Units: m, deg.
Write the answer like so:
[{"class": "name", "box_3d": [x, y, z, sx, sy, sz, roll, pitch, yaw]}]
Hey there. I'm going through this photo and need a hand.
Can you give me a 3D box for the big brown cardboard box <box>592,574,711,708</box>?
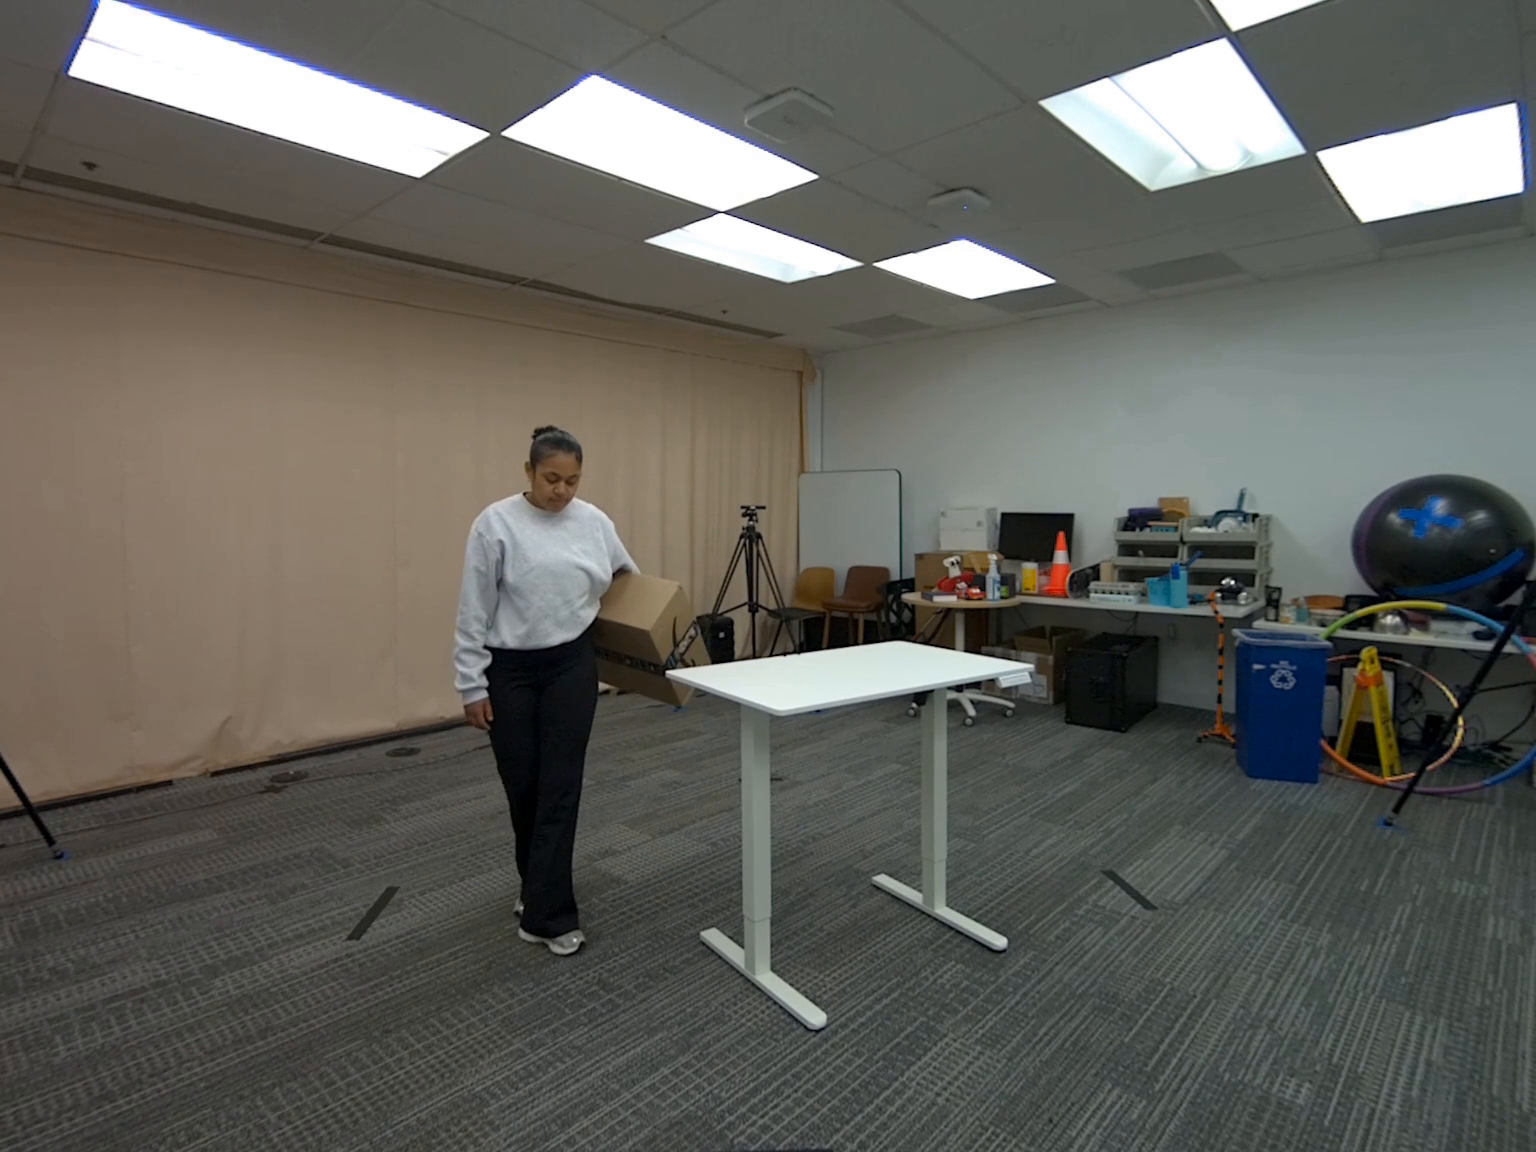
[{"class": "big brown cardboard box", "box_3d": [-0.531, 0.191, 2.996, 0.606, 0.406, 0.233, 11, 49, 28]}]
